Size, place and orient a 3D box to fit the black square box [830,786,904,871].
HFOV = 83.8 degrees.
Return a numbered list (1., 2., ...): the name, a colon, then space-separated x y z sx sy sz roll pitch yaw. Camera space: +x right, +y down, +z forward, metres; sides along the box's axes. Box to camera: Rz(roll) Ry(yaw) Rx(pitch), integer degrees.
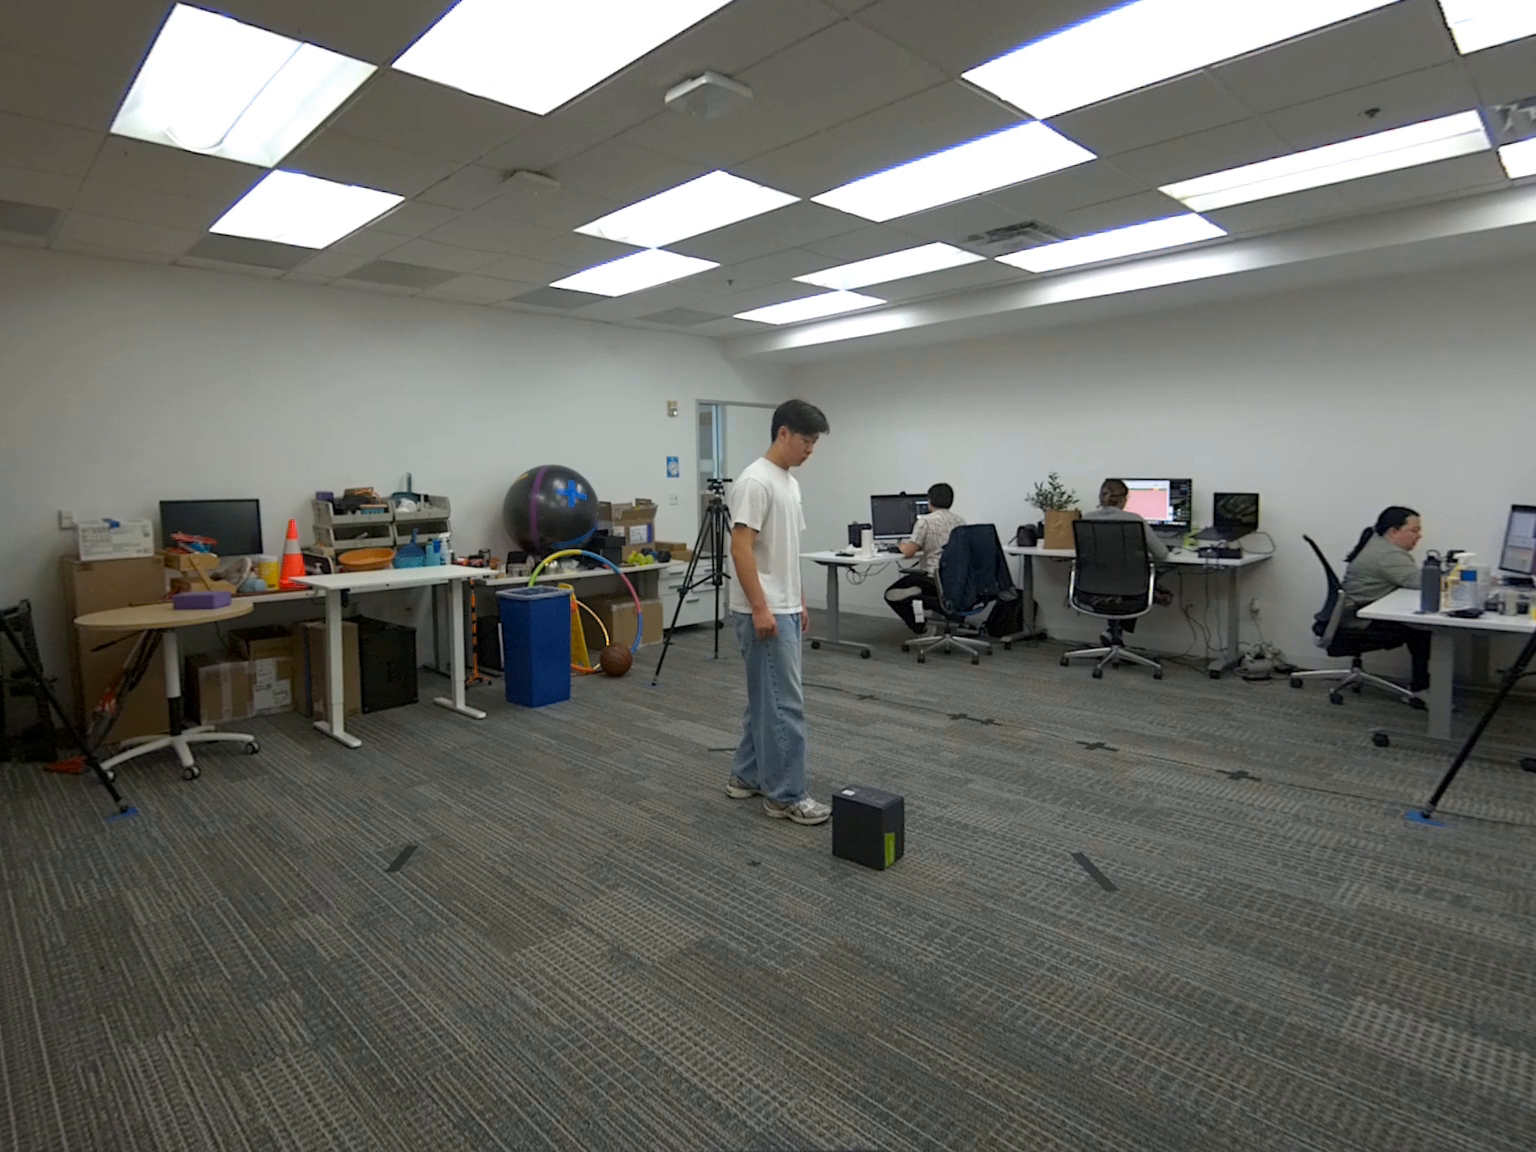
1. black square box: 0.368 0.913 3.139 0.223 0.227 0.152 3 6 39
